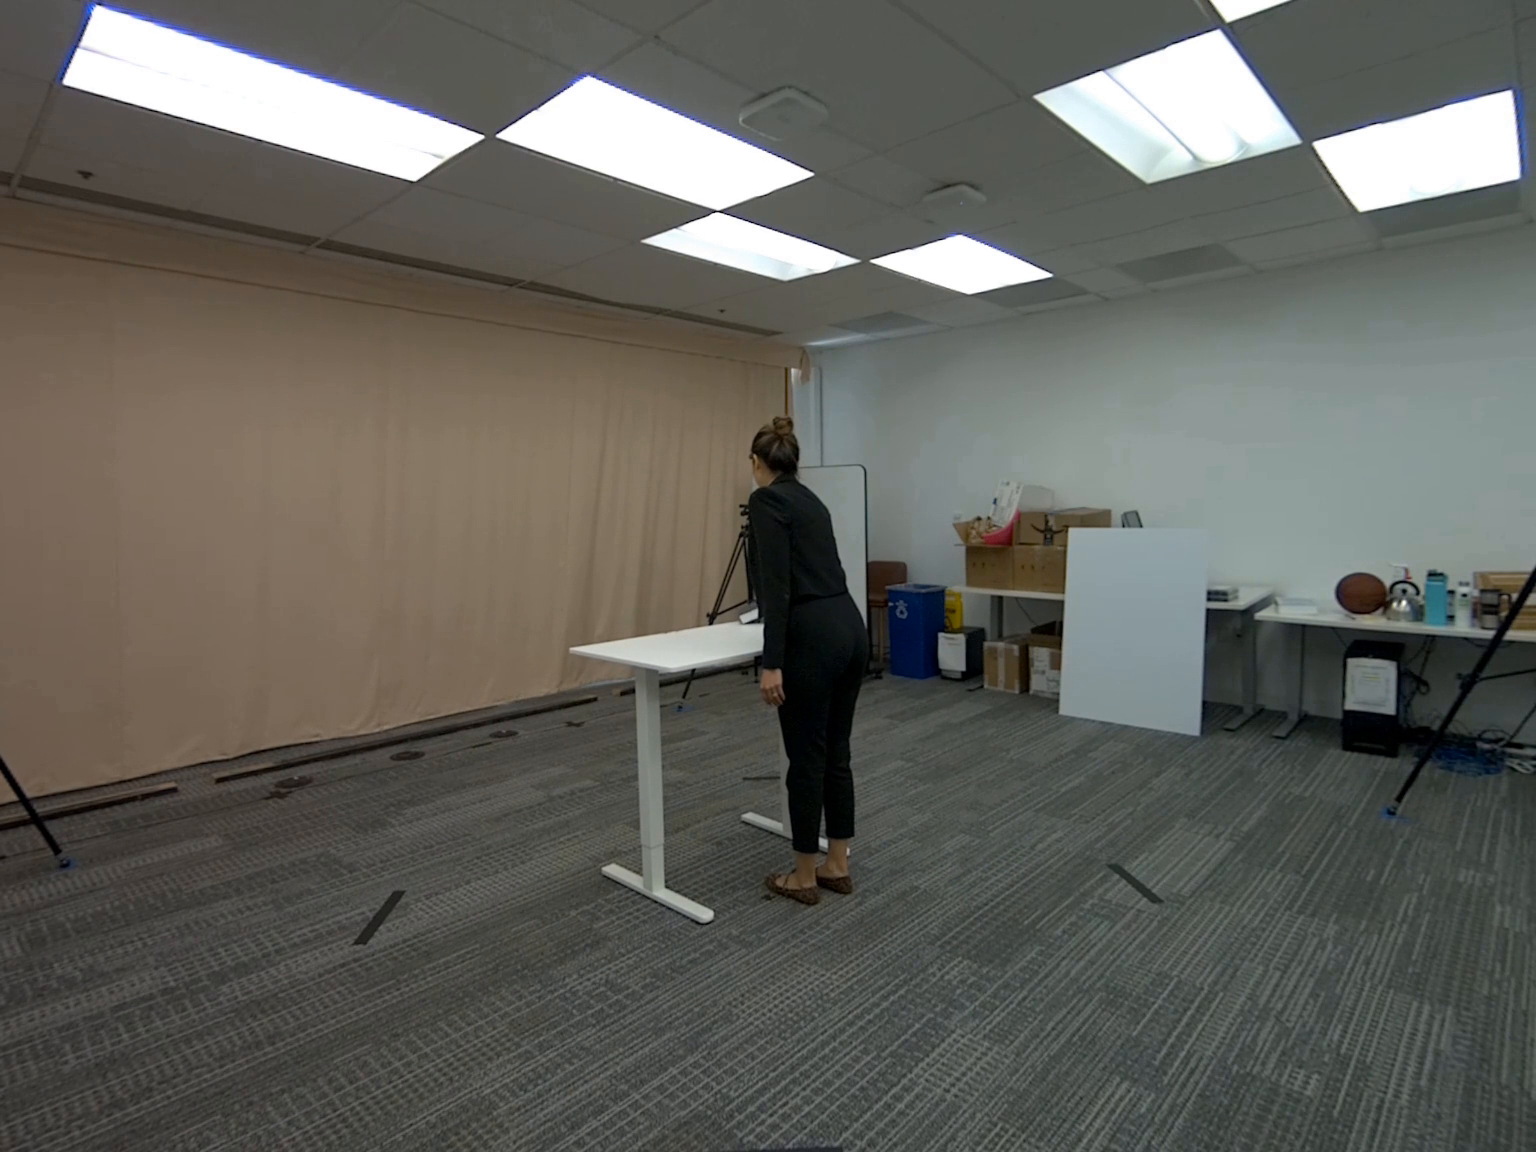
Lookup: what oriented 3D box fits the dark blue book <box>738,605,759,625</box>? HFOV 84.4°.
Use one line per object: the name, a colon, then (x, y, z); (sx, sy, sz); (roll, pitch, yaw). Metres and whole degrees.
dark blue book: (-0.052, 0.147, 3.714); (0.163, 0.045, 0.246); (-24, 4, -1)
